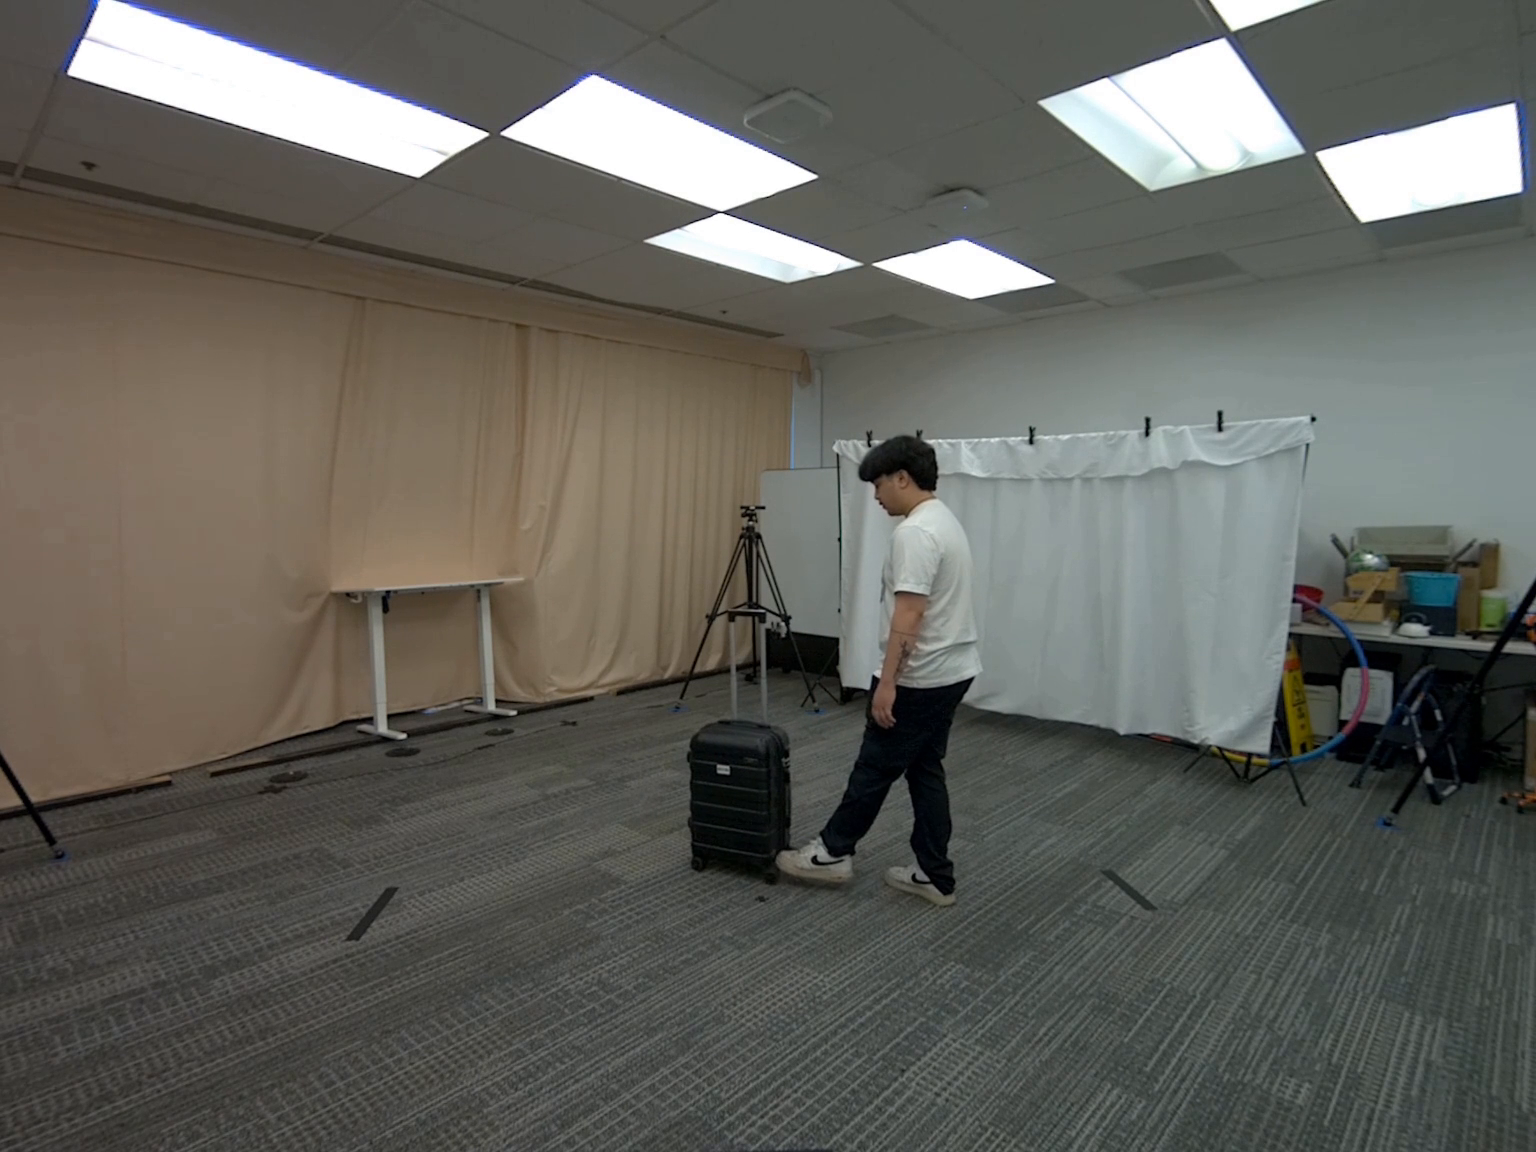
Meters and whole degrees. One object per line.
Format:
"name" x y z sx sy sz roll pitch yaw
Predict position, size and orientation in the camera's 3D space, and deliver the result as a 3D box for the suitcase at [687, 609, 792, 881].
"suitcase" -0.108 0.648 3.238 0.393 0.975 0.252 0 5 24
